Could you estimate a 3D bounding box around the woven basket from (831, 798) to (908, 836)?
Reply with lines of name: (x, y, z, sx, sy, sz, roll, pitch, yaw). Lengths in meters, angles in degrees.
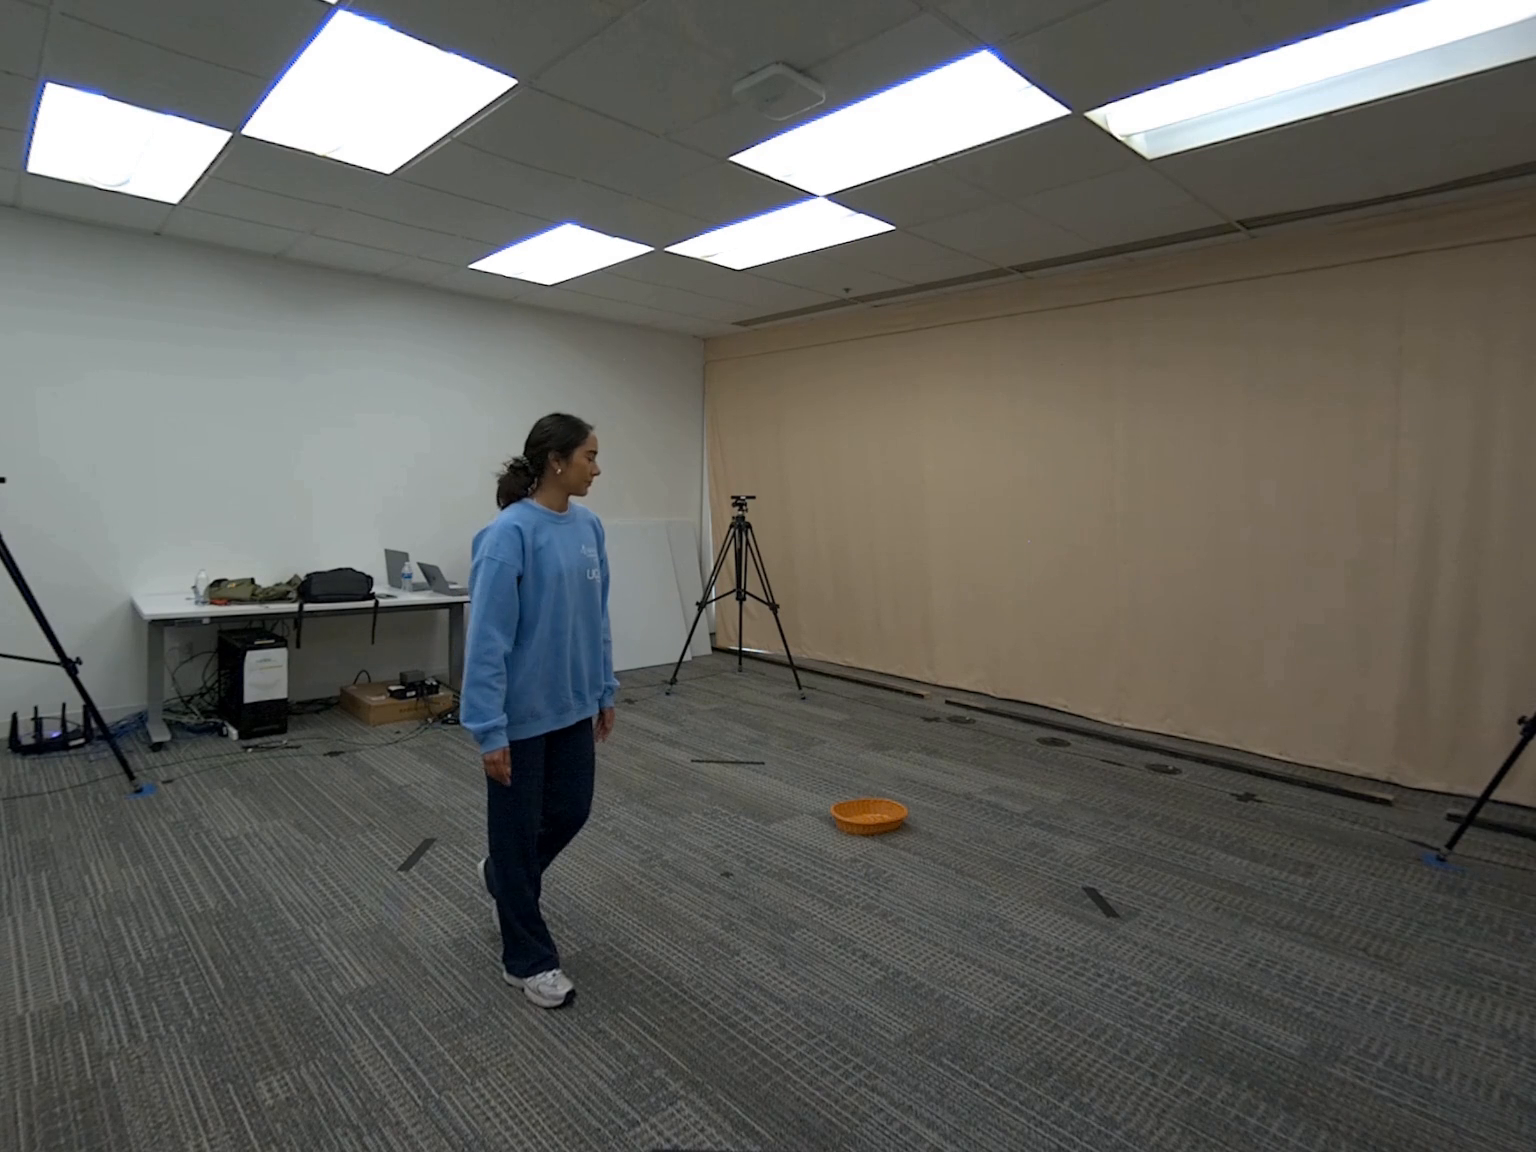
woven basket: (0.422, 1.028, 3.604, 0.344, 0.073, 0.257, -1, 6, -24)
